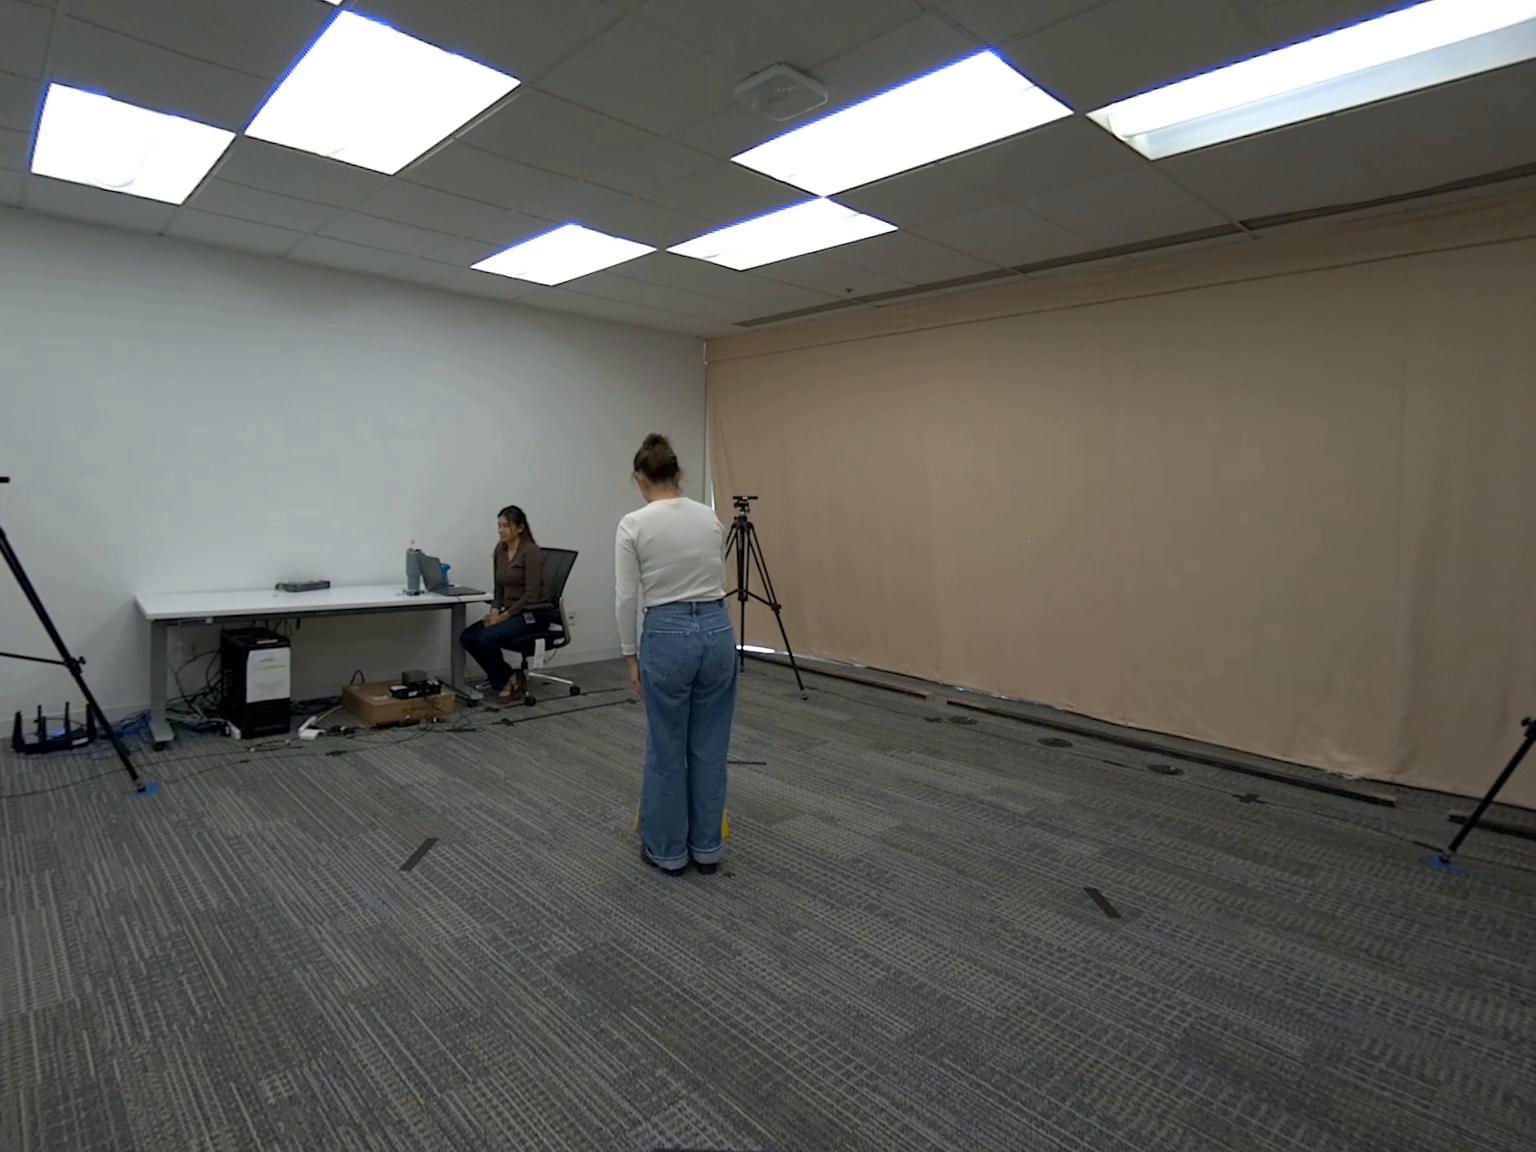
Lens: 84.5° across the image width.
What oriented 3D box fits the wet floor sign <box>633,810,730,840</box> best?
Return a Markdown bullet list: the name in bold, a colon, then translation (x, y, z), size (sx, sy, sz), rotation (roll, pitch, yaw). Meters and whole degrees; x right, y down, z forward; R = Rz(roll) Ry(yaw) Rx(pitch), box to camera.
- **wet floor sign**: translation (-0.348, 0.746, 3.458), size (0.276, 0.644, 0.297), rotation (-1, 5, -42)
